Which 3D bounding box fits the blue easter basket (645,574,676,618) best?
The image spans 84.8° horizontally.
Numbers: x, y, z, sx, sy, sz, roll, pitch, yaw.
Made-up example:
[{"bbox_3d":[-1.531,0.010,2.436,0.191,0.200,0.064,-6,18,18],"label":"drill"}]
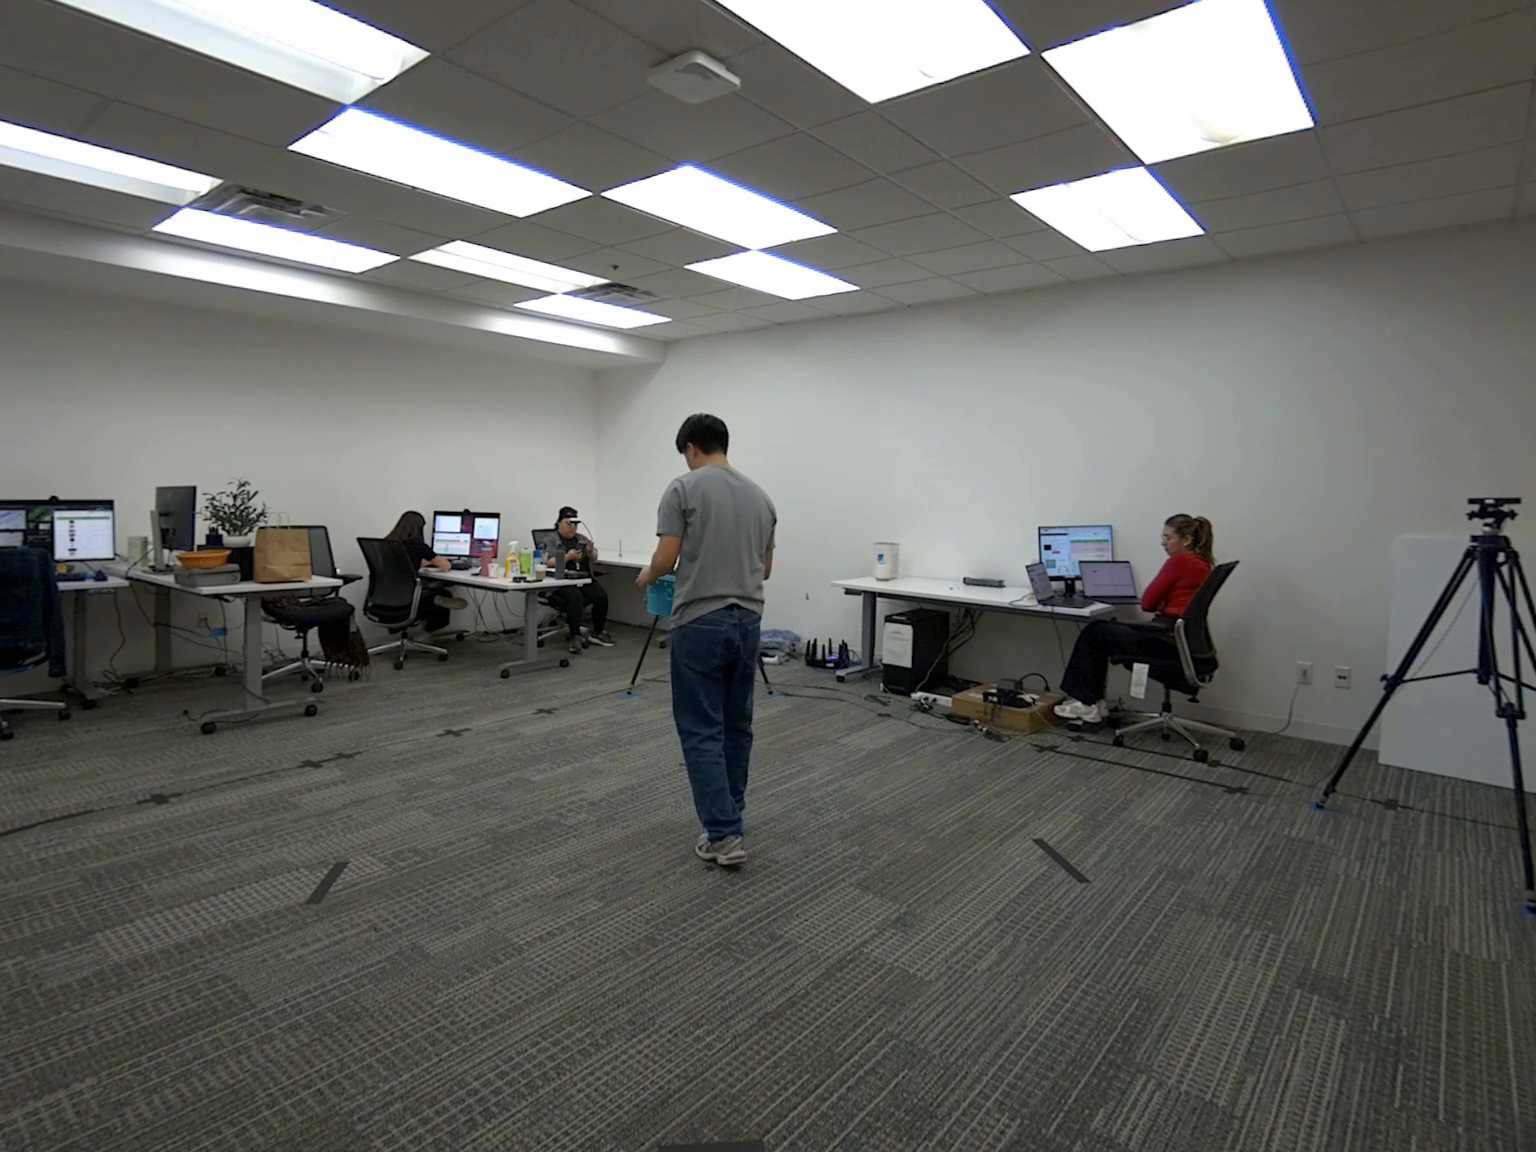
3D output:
[{"bbox_3d":[-0.427,0.092,3.636,0.243,0.155,0.244,9,3,-2],"label":"blue easter basket"}]
